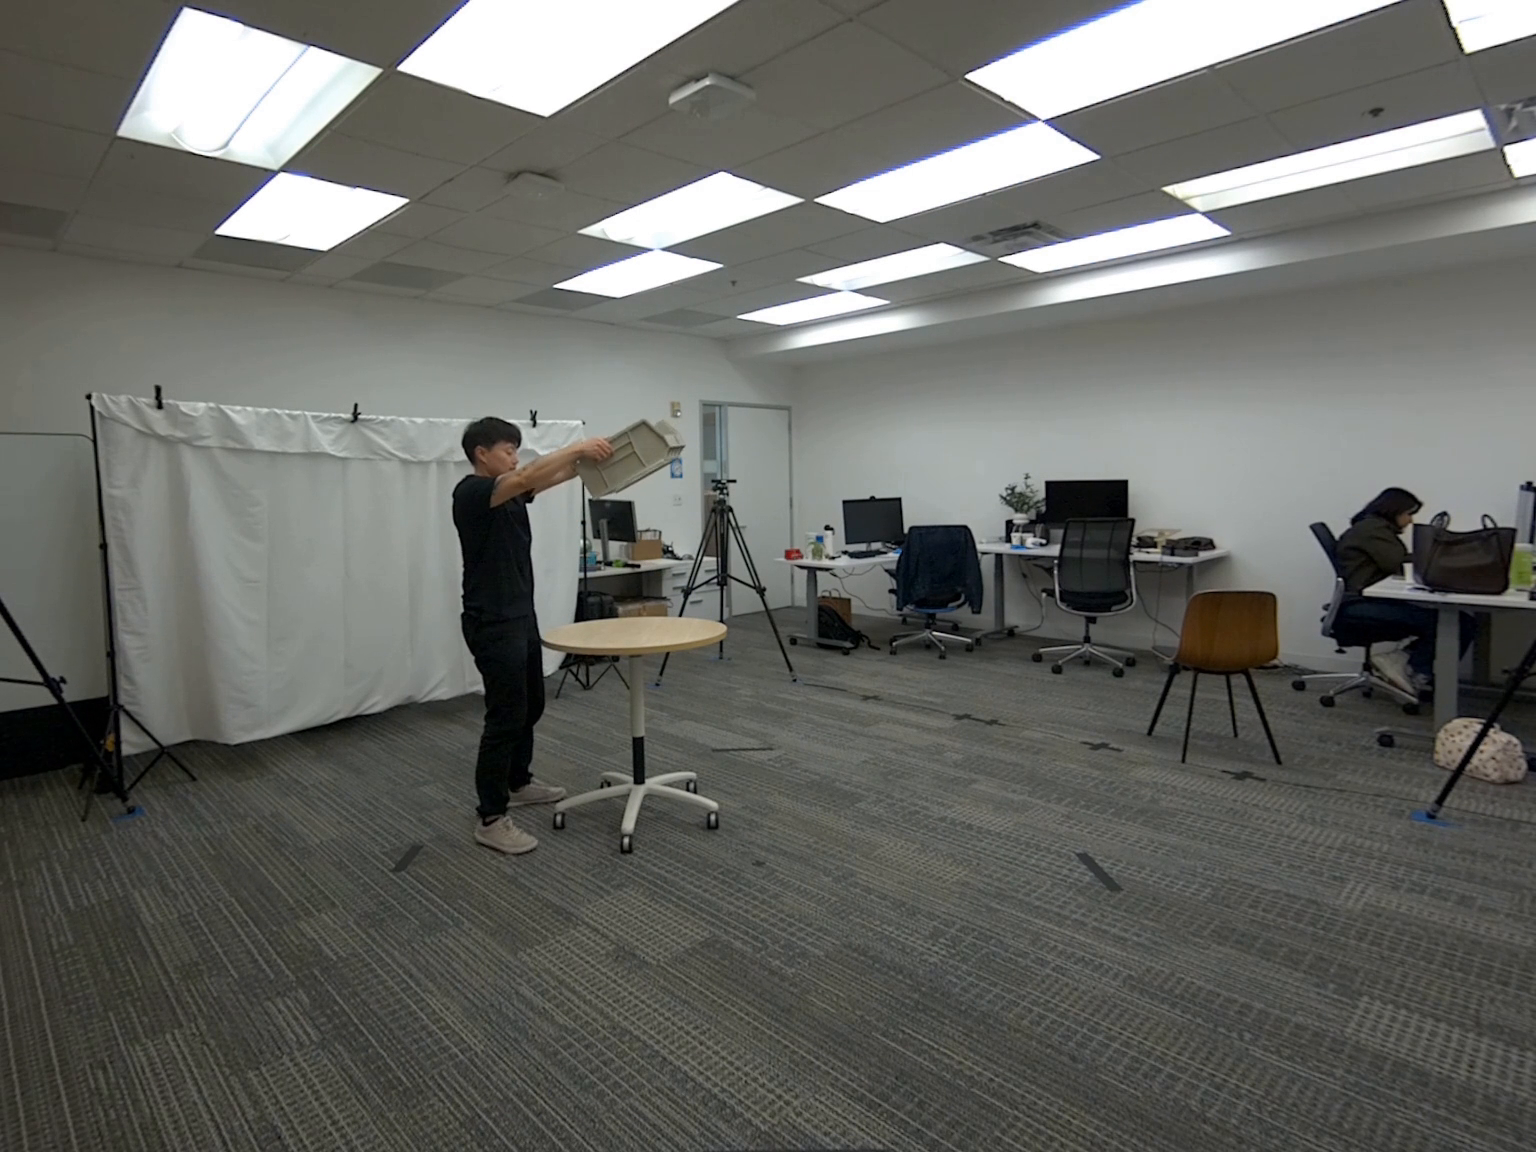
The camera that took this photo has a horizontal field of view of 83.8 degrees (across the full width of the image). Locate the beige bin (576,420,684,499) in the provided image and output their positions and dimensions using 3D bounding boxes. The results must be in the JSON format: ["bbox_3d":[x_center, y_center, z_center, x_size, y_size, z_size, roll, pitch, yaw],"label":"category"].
[{"bbox_3d":[-0.550,-0.476,3.435,0.378,0.187,0.424,-28,8,7],"label":"beige bin"}]
